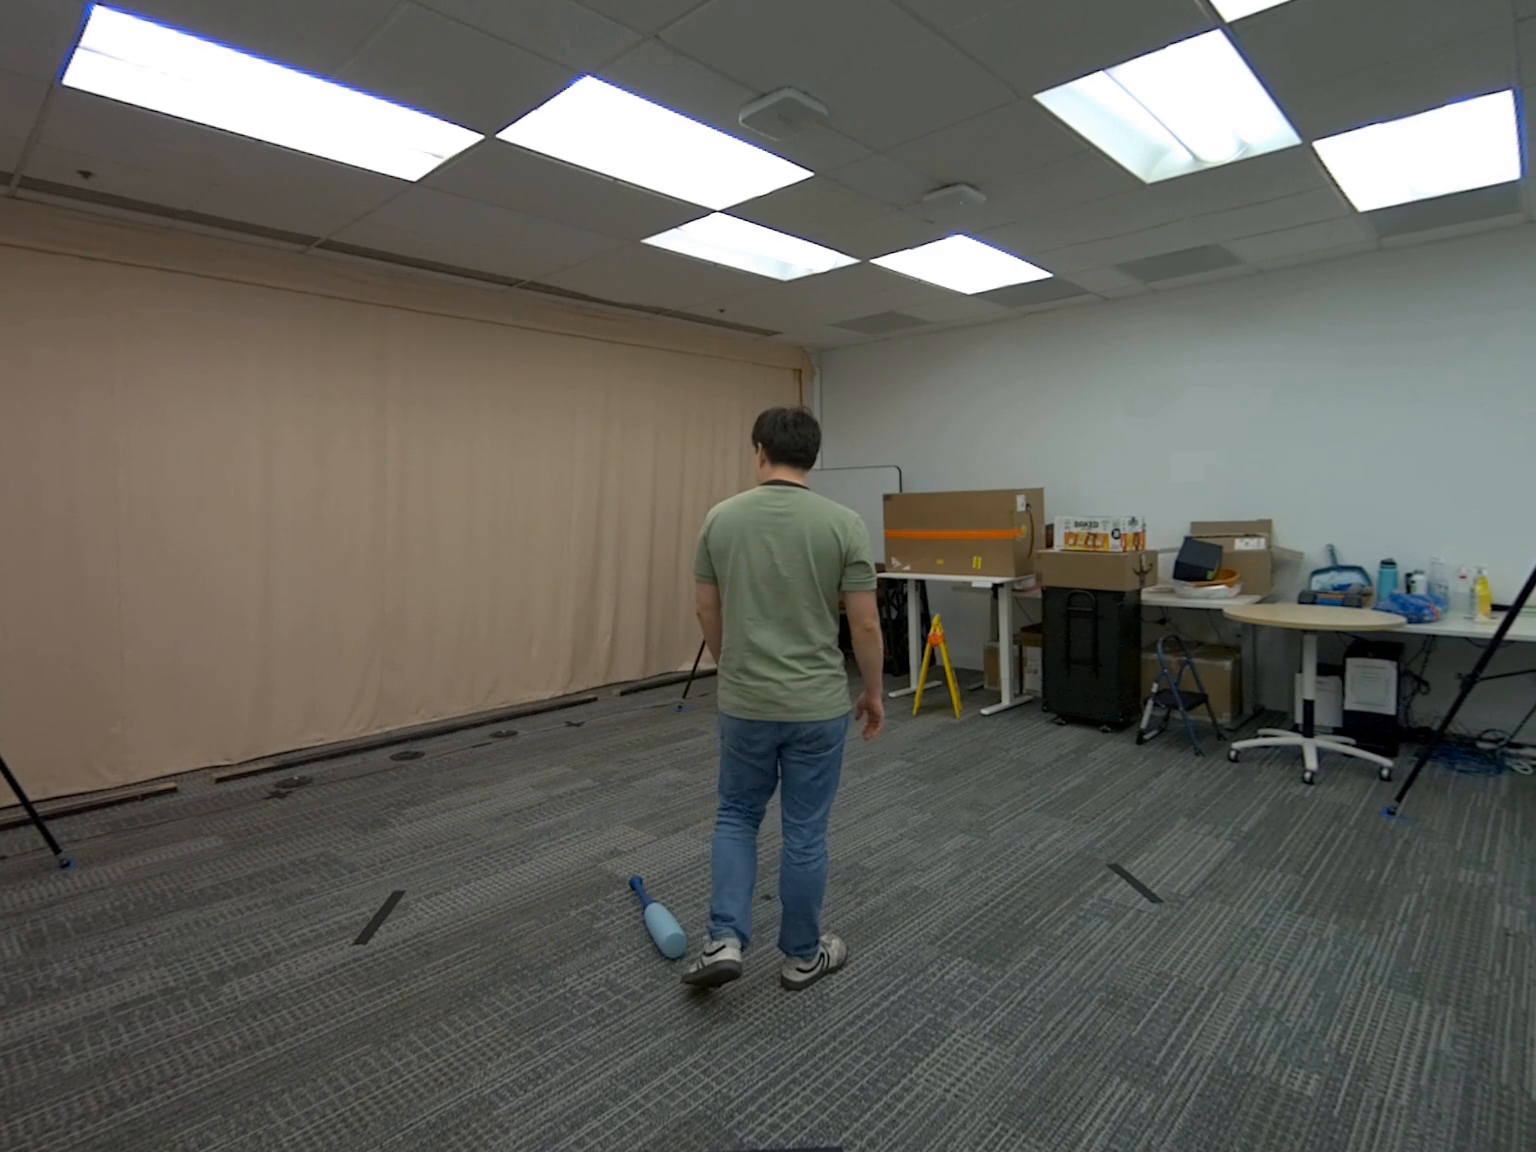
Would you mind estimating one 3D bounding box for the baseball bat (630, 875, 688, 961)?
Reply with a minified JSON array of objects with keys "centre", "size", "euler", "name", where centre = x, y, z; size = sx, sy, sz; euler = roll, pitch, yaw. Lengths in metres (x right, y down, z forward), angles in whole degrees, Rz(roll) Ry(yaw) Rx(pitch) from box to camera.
[{"centre":[-0.384,1.125,2.821],"size":[0.087,0.089,0.554],"euler":[-2,2,-21],"name":"baseball bat"}]
